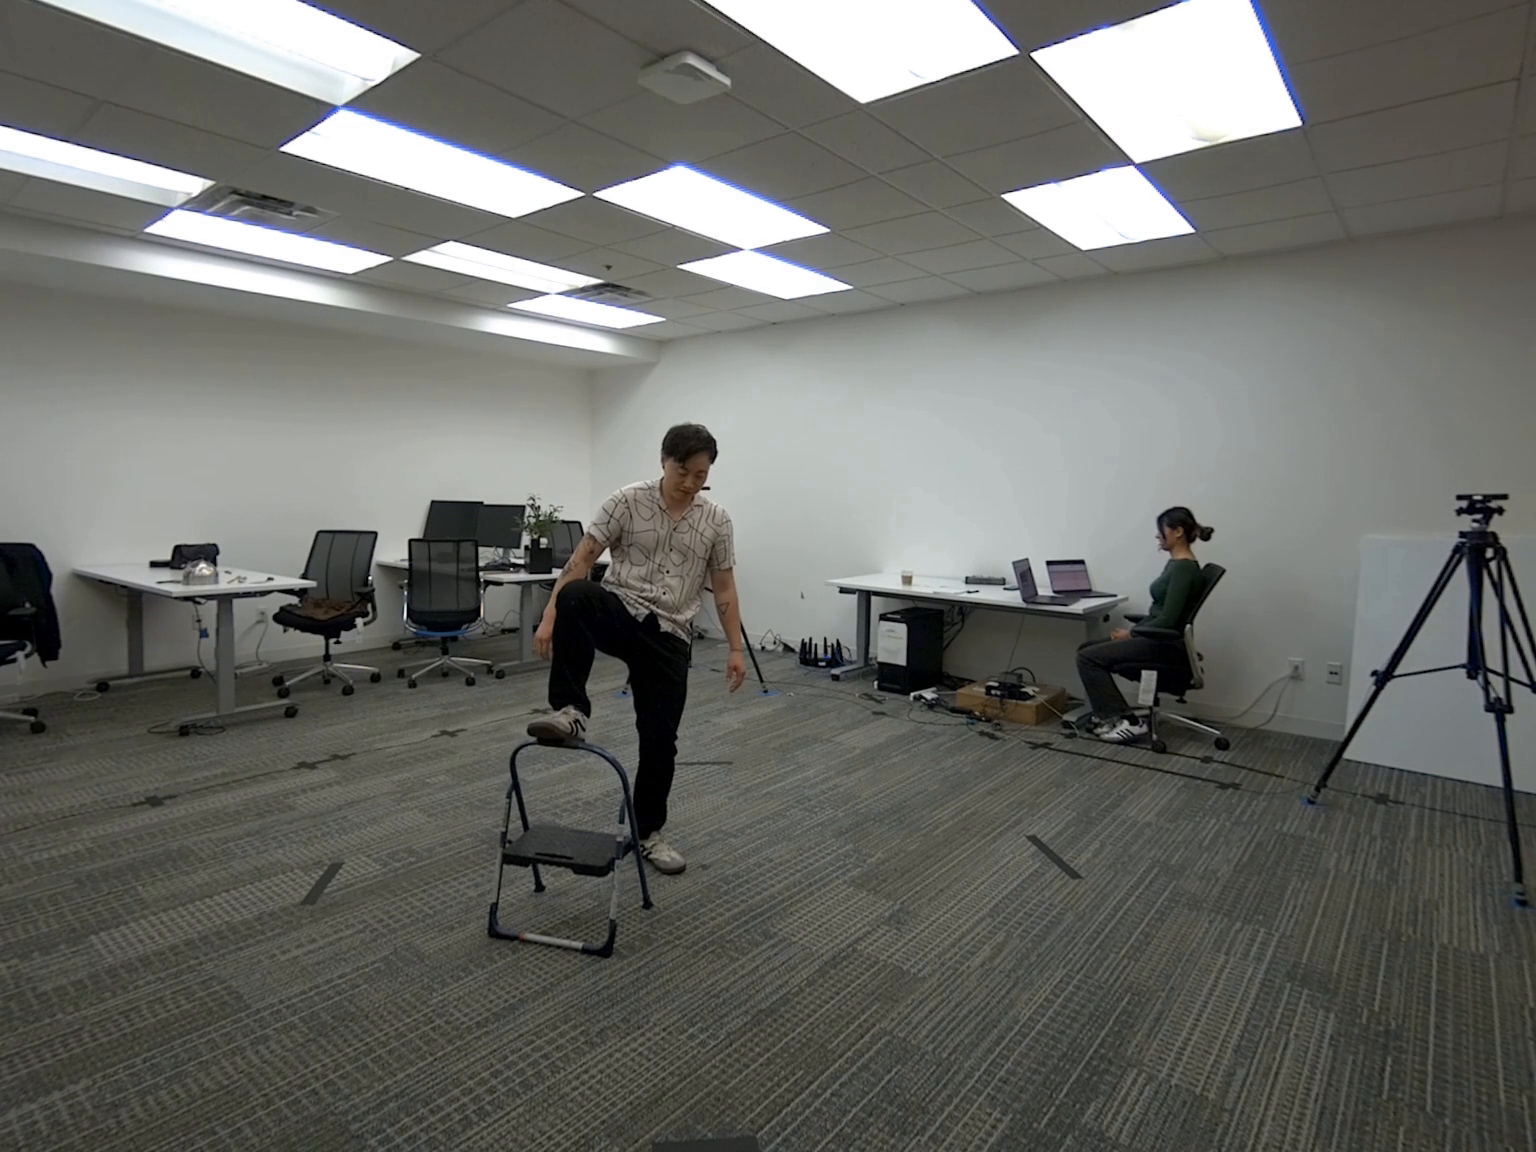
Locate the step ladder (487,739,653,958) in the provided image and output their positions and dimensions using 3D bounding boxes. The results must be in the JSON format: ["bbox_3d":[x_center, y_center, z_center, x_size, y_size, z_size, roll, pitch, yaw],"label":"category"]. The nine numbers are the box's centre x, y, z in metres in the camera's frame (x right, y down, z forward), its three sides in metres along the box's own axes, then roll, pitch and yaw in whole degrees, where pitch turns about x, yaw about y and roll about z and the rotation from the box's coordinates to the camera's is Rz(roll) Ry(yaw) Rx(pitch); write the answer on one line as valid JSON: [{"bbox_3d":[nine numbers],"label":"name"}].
[{"bbox_3d":[-0.639,0.794,2.690,0.438,0.603,0.345,1,5,14],"label":"step ladder"}]
